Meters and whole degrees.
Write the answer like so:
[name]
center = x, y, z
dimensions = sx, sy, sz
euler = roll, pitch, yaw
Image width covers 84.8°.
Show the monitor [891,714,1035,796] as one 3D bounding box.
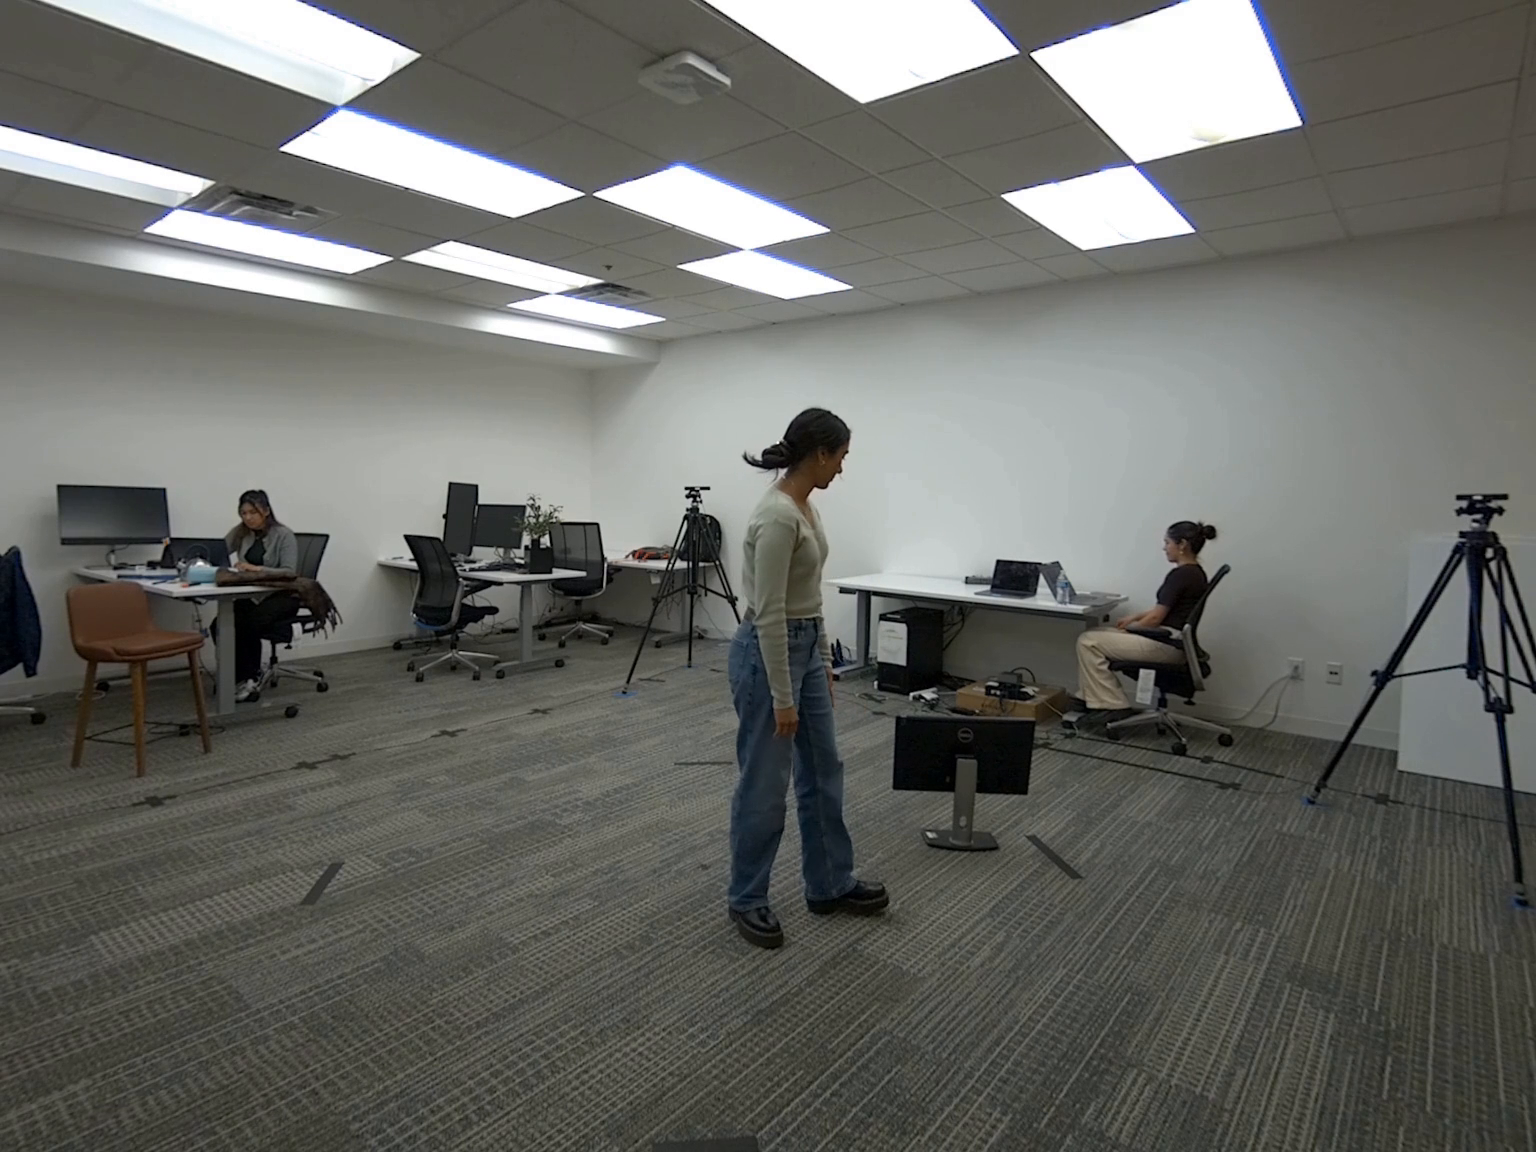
[monitor]
center = 0.770, 0.795, 3.370
dimensions = 0.533, 0.515, 0.174
euler = 0, 2, 5
